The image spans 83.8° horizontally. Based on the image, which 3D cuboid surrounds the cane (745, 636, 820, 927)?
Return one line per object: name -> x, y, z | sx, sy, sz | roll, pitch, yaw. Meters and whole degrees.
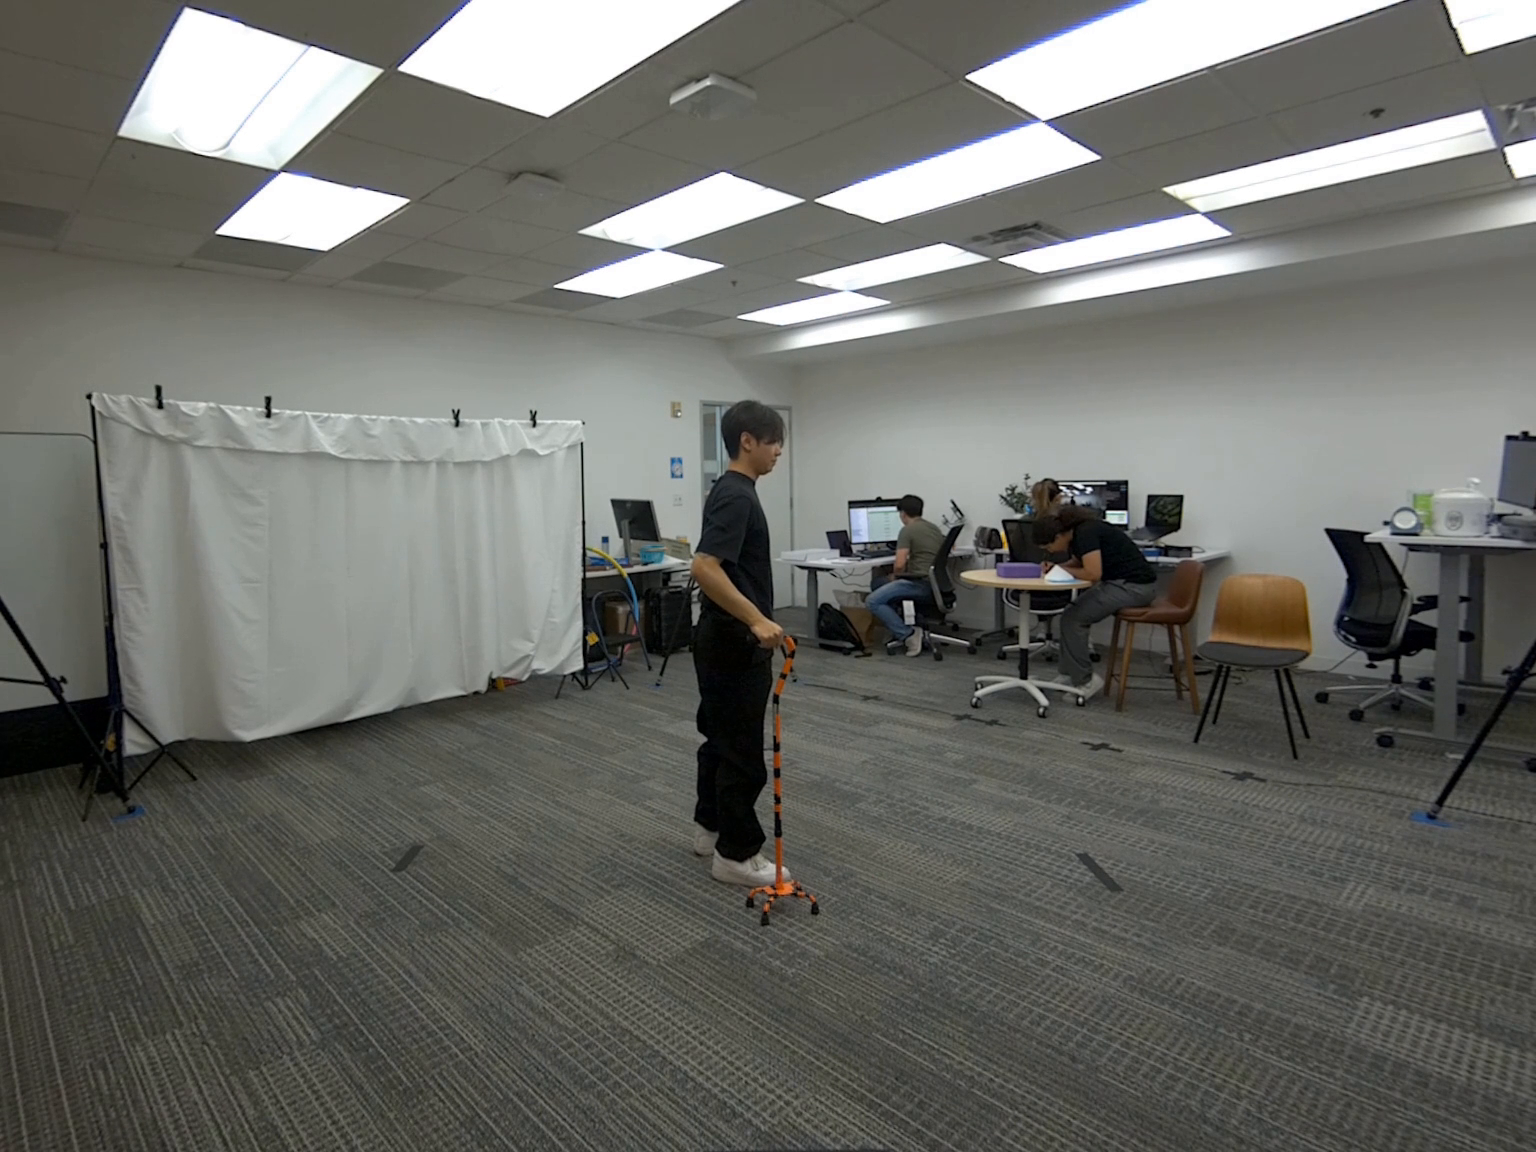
cane -> 0.043, 0.631, 2.755 | 0.202, 0.905, 0.155 | -2, 3, -25
